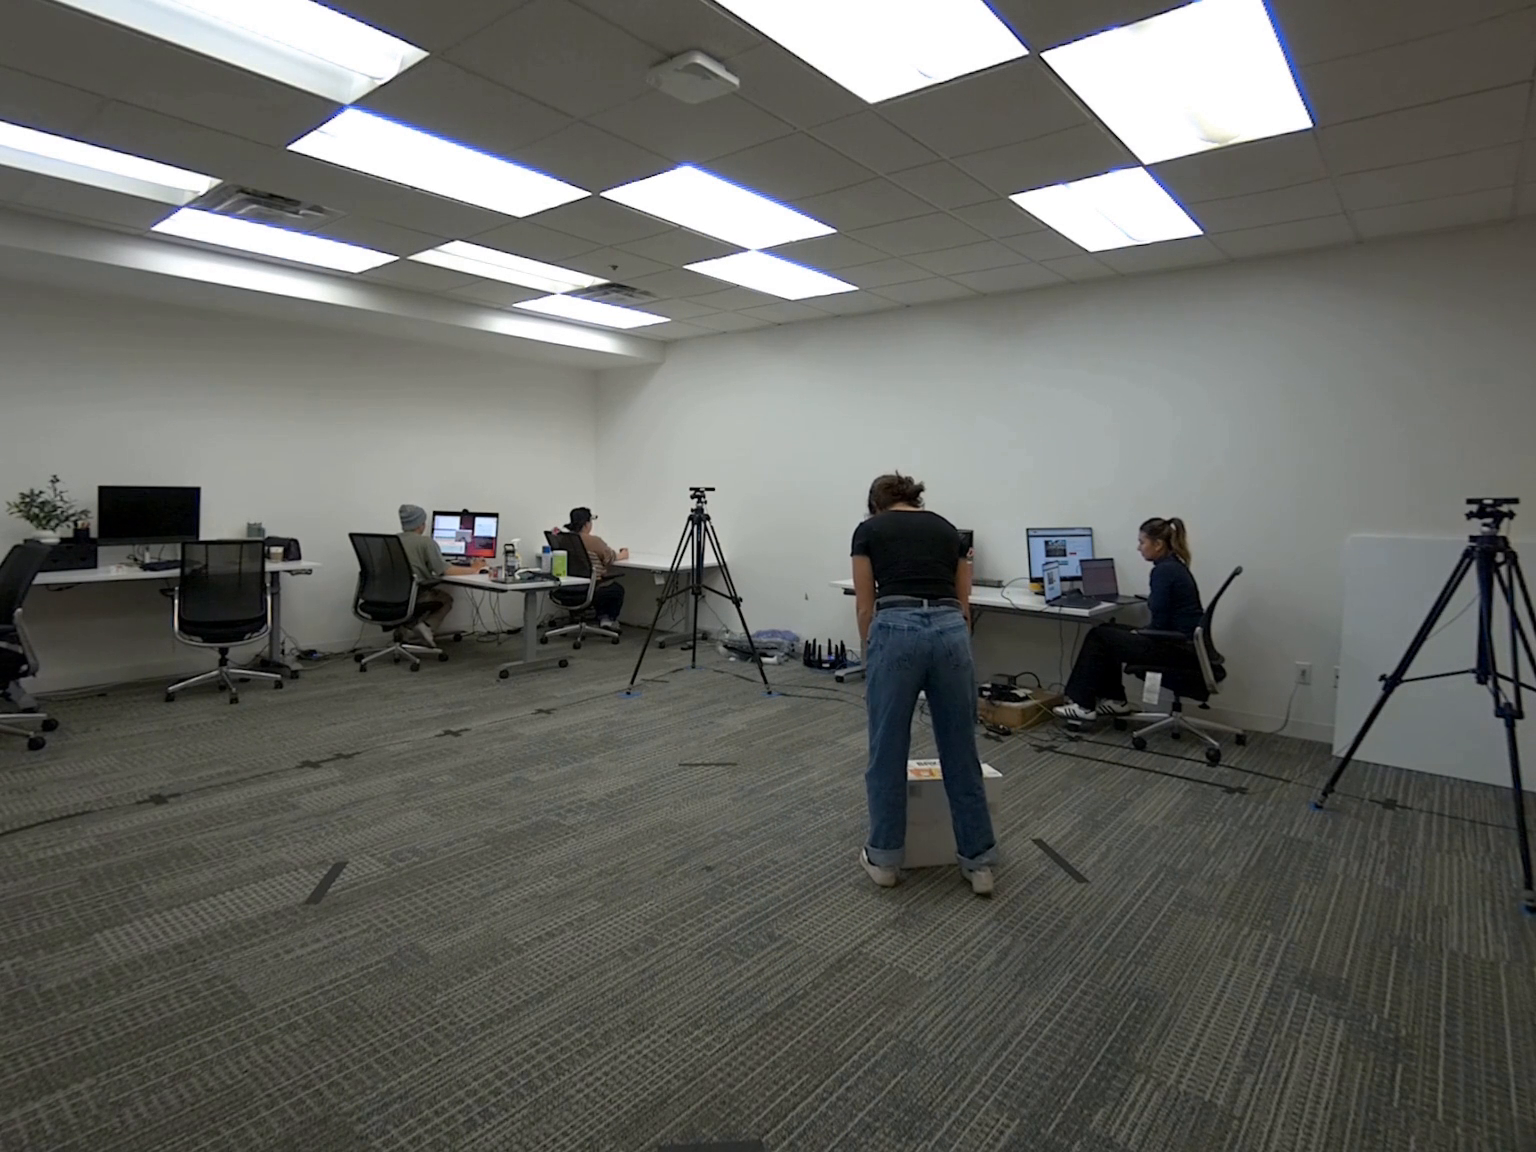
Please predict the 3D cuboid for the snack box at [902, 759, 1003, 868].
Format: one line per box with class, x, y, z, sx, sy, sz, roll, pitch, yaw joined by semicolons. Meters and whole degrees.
snack box;0.655;0.899;3.263;0.400;0.339;0.209;0;6;-13
